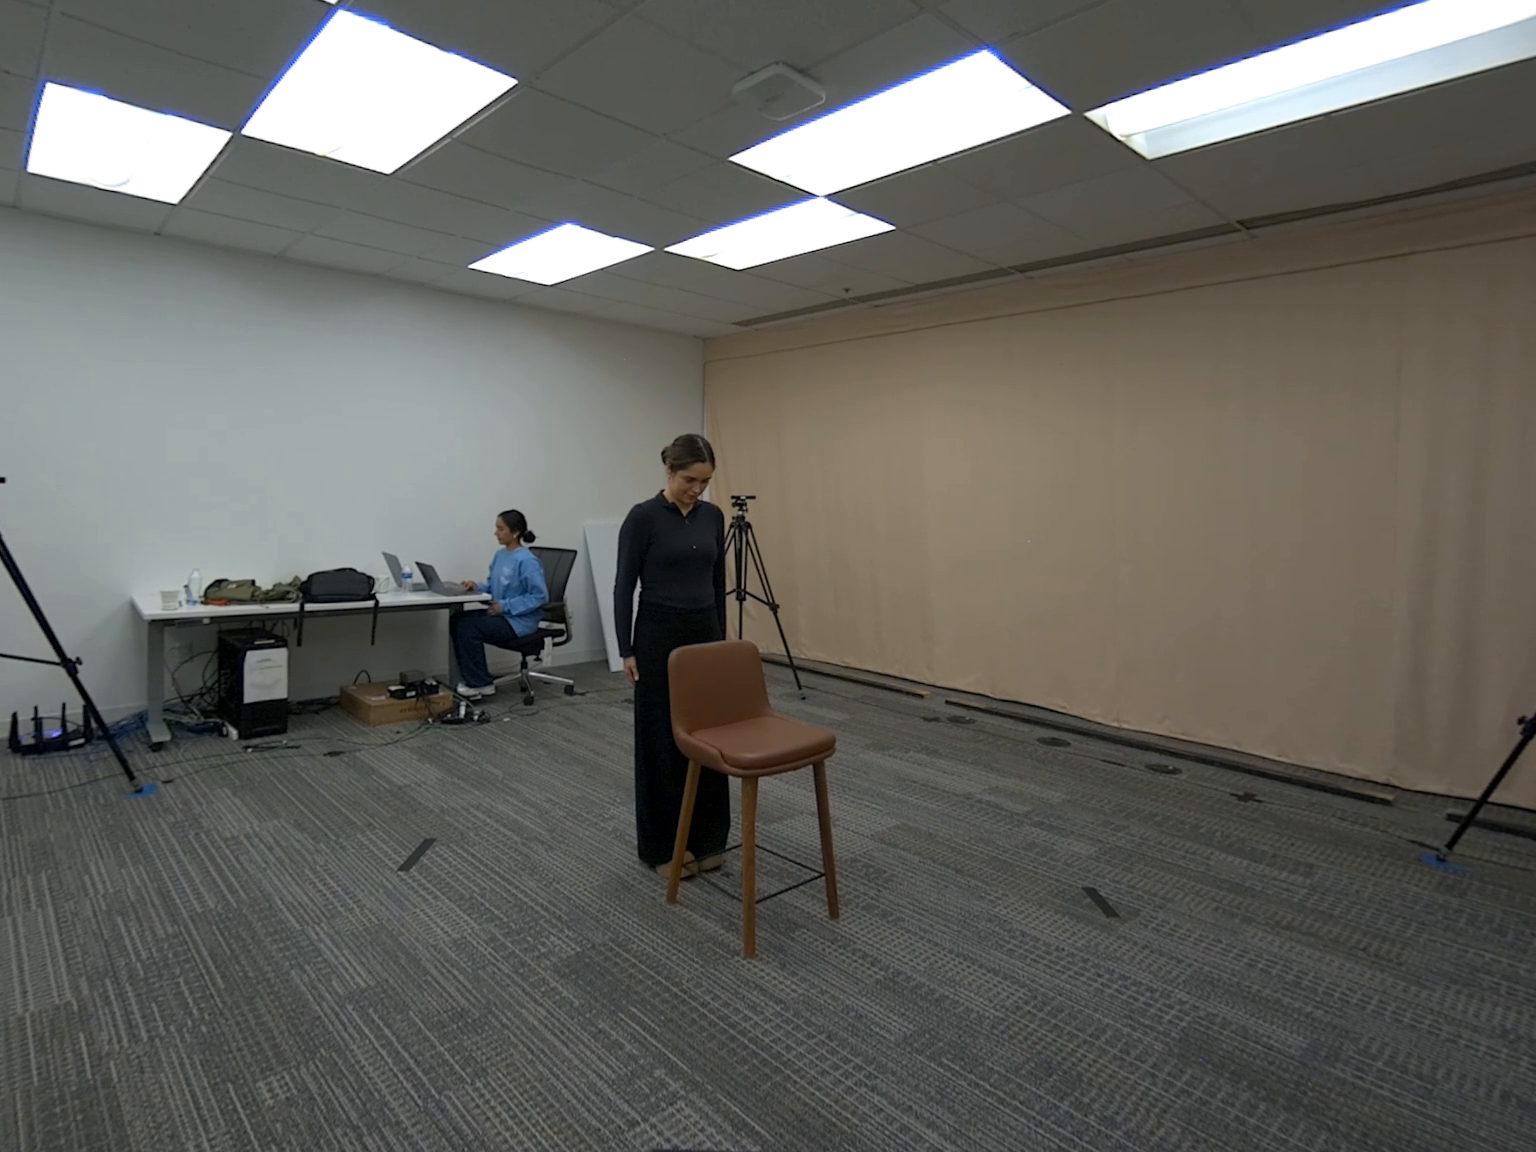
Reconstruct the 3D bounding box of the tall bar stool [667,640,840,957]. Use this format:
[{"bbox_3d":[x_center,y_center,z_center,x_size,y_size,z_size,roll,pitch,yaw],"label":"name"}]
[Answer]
[{"bbox_3d":[-0.062,0.692,2.817,0.446,0.889,0.479,-2,2,-42],"label":"tall bar stool"}]
